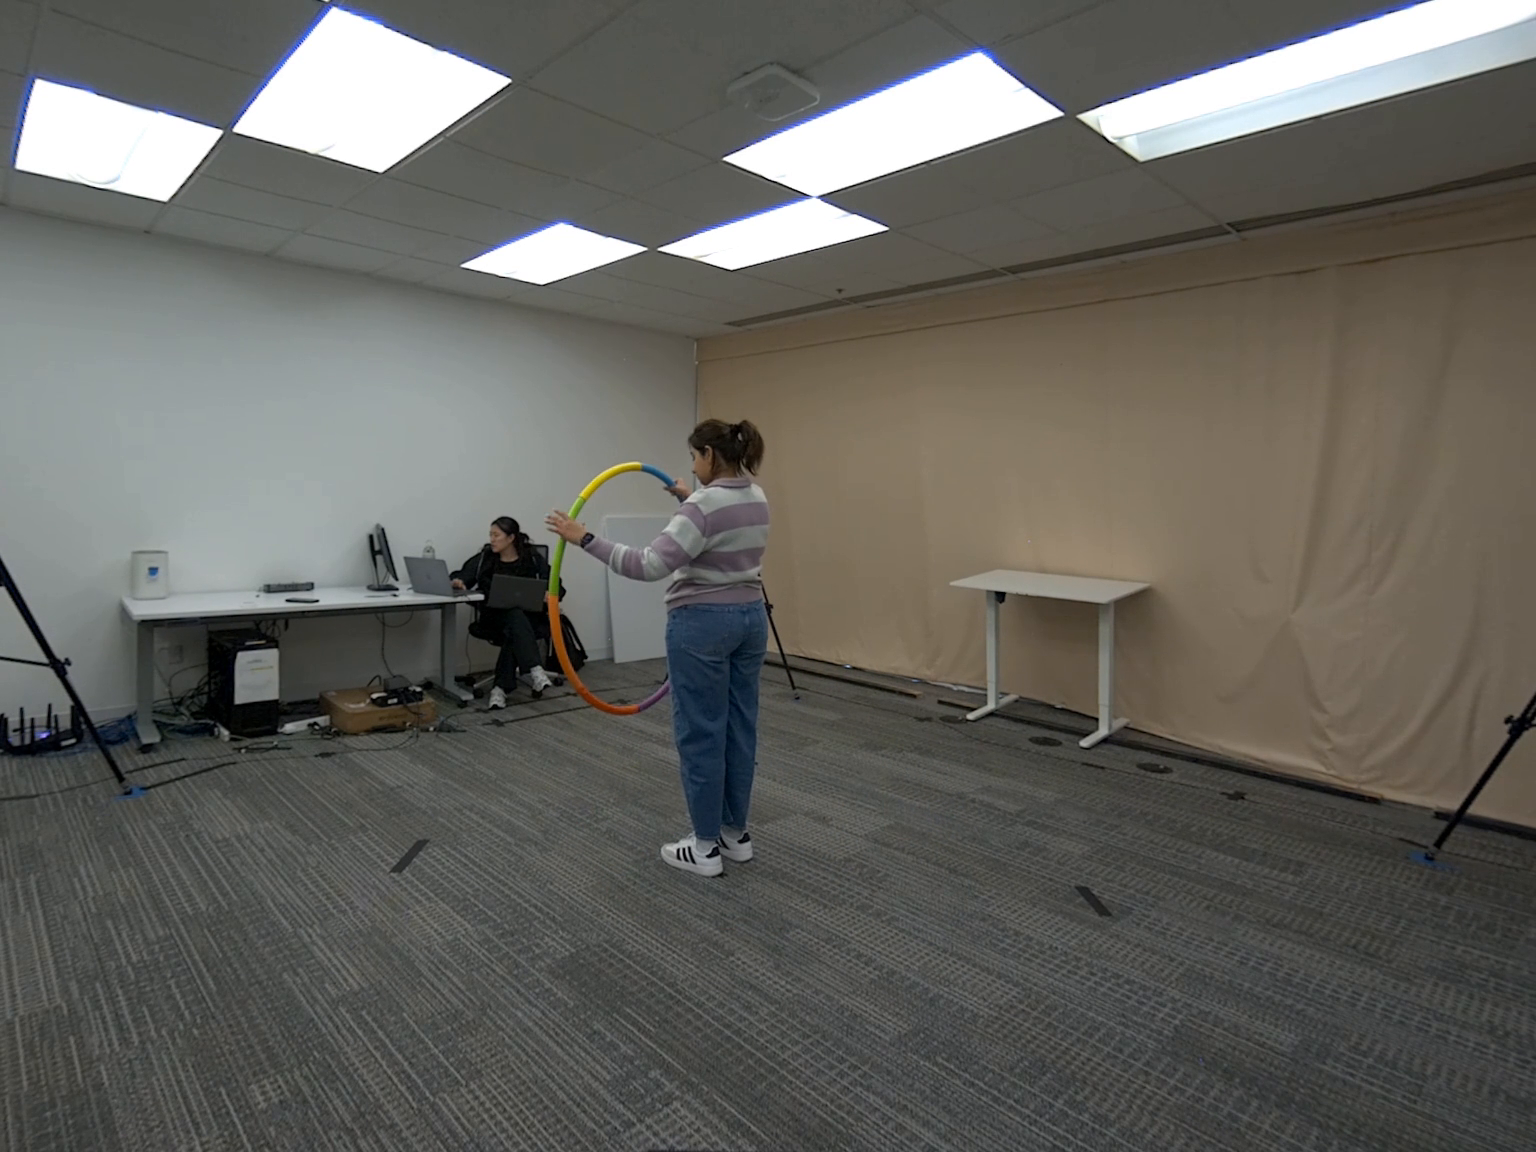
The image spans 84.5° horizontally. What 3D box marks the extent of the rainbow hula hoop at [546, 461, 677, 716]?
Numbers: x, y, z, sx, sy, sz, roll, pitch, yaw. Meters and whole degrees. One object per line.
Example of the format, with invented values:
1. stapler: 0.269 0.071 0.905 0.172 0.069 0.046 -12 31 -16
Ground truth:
1. rainbow hula hoop: -0.528 0.041 3.346 0.036 0.976 0.960 1 4 29
